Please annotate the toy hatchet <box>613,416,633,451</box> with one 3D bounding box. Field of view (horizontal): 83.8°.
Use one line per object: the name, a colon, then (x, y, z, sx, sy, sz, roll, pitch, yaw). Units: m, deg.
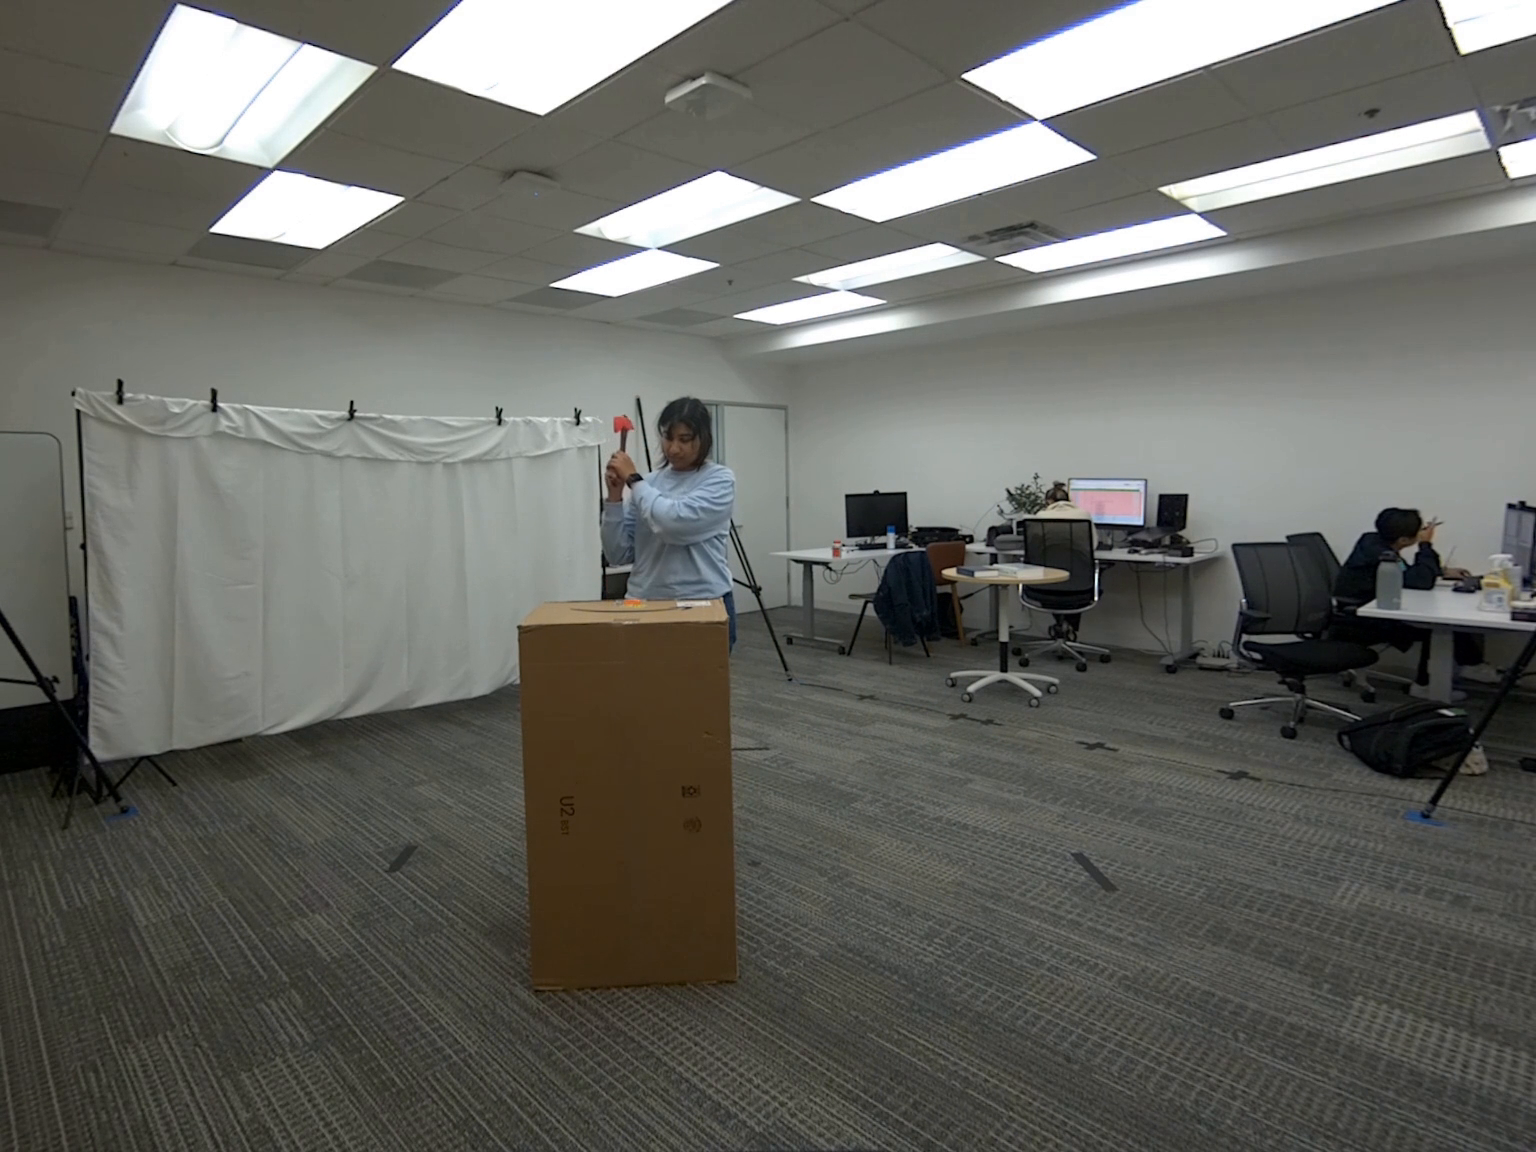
toy hatchet: (-0.536, -0.467, 3.067, 0.030, 0.275, 0.126, -4, -30, 21)
